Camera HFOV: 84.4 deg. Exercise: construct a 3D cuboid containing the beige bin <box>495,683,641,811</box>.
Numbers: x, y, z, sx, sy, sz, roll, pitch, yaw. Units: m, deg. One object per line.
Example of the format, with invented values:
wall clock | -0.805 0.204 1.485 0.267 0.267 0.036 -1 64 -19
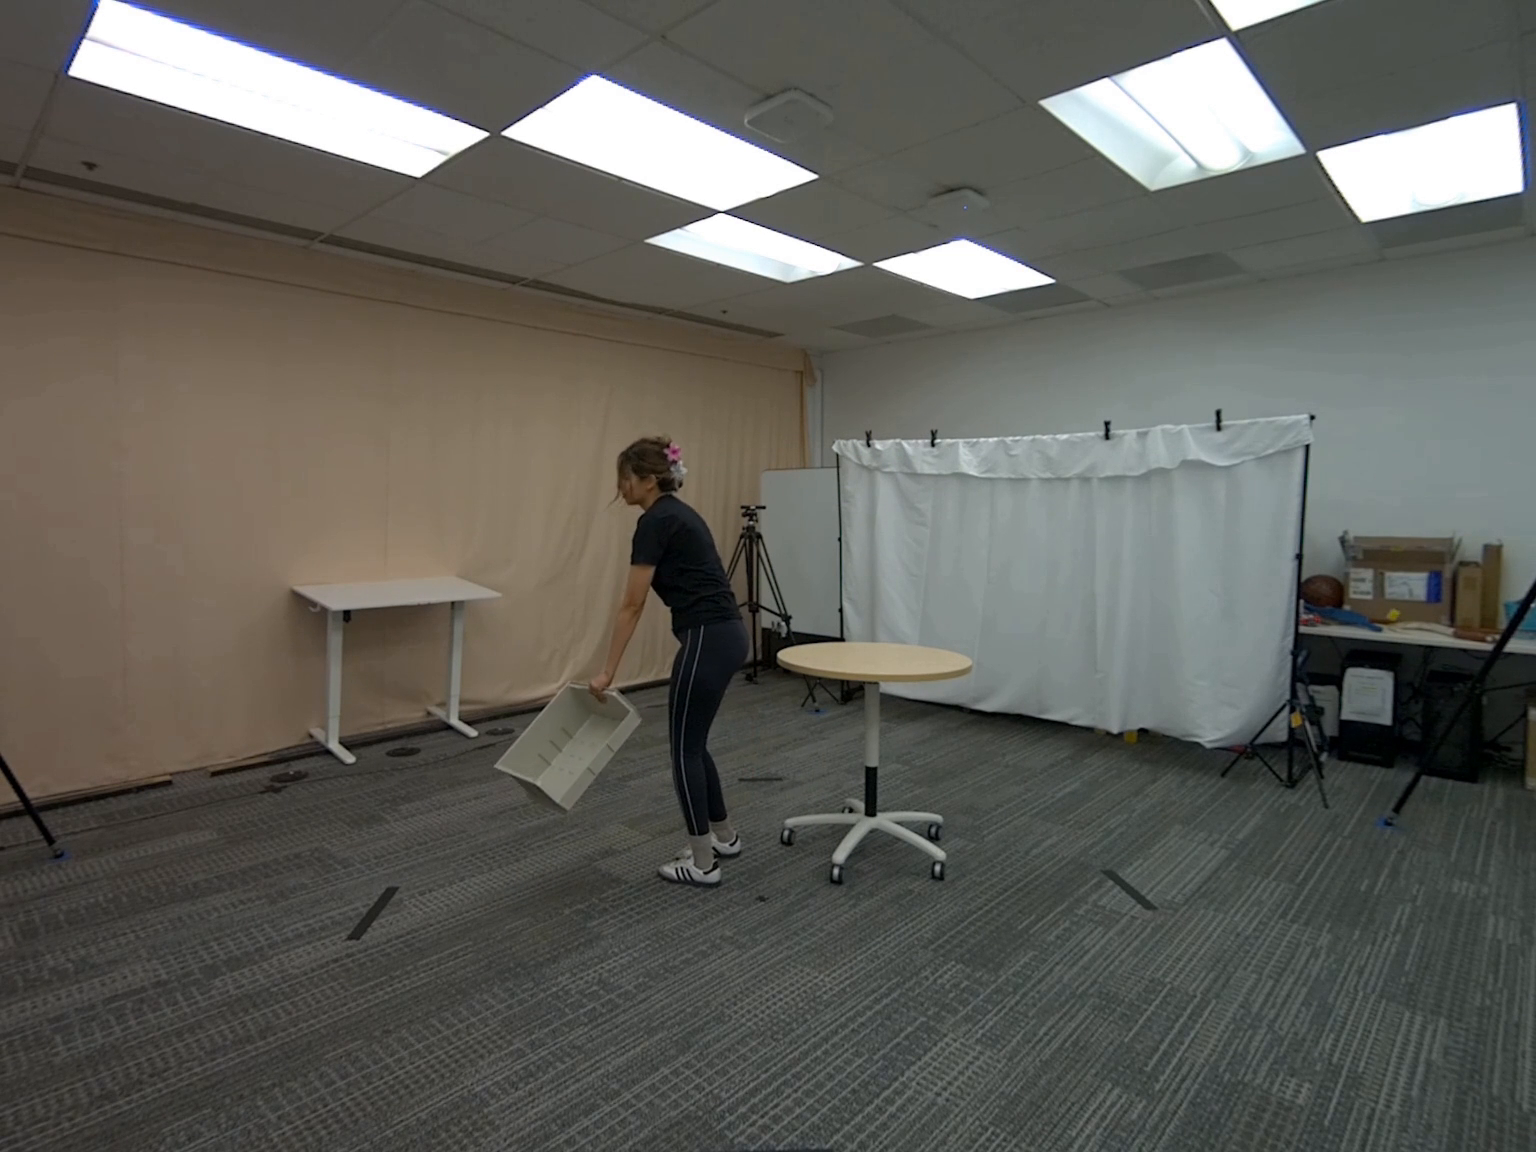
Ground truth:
beige bin | -0.705 0.617 3.038 0.389 0.184 0.420 -2 42 49
